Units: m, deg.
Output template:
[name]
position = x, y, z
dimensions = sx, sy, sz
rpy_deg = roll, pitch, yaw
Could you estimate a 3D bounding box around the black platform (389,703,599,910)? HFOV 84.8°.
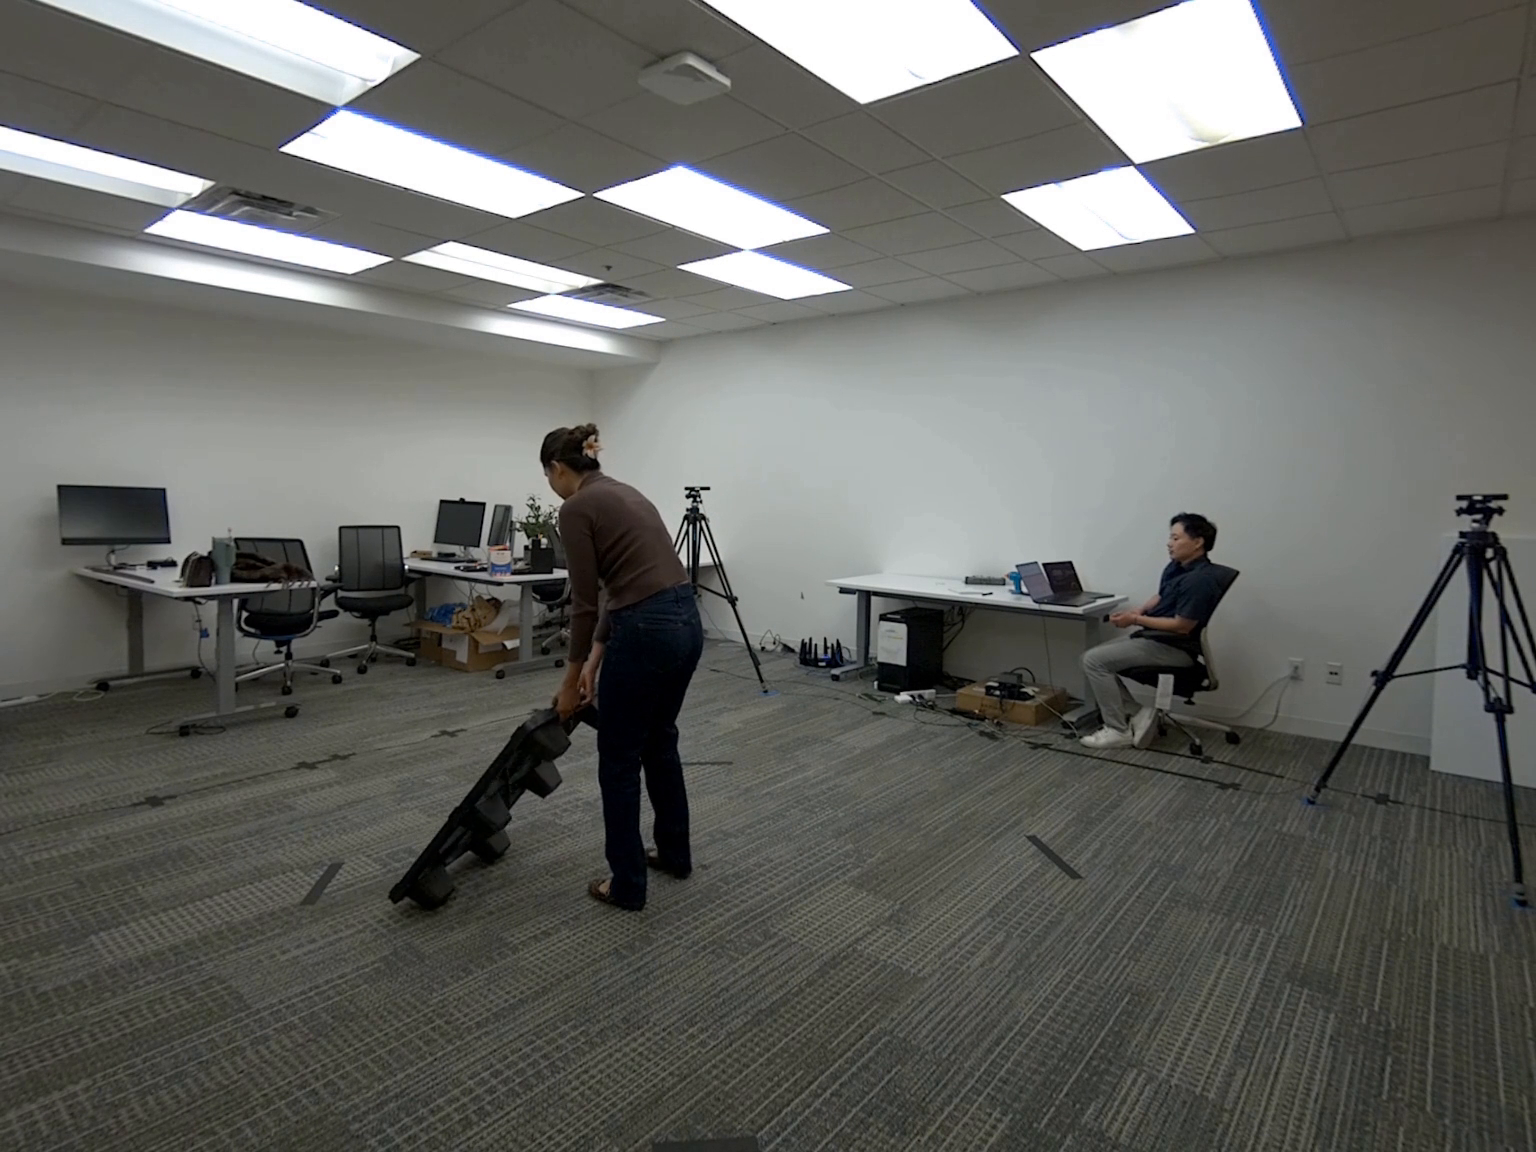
[black platform]
position = -0.876, 0.748, 2.930
dimensions = 0.145, 0.804, 0.599
rpy_deg = 40, 12, 5
